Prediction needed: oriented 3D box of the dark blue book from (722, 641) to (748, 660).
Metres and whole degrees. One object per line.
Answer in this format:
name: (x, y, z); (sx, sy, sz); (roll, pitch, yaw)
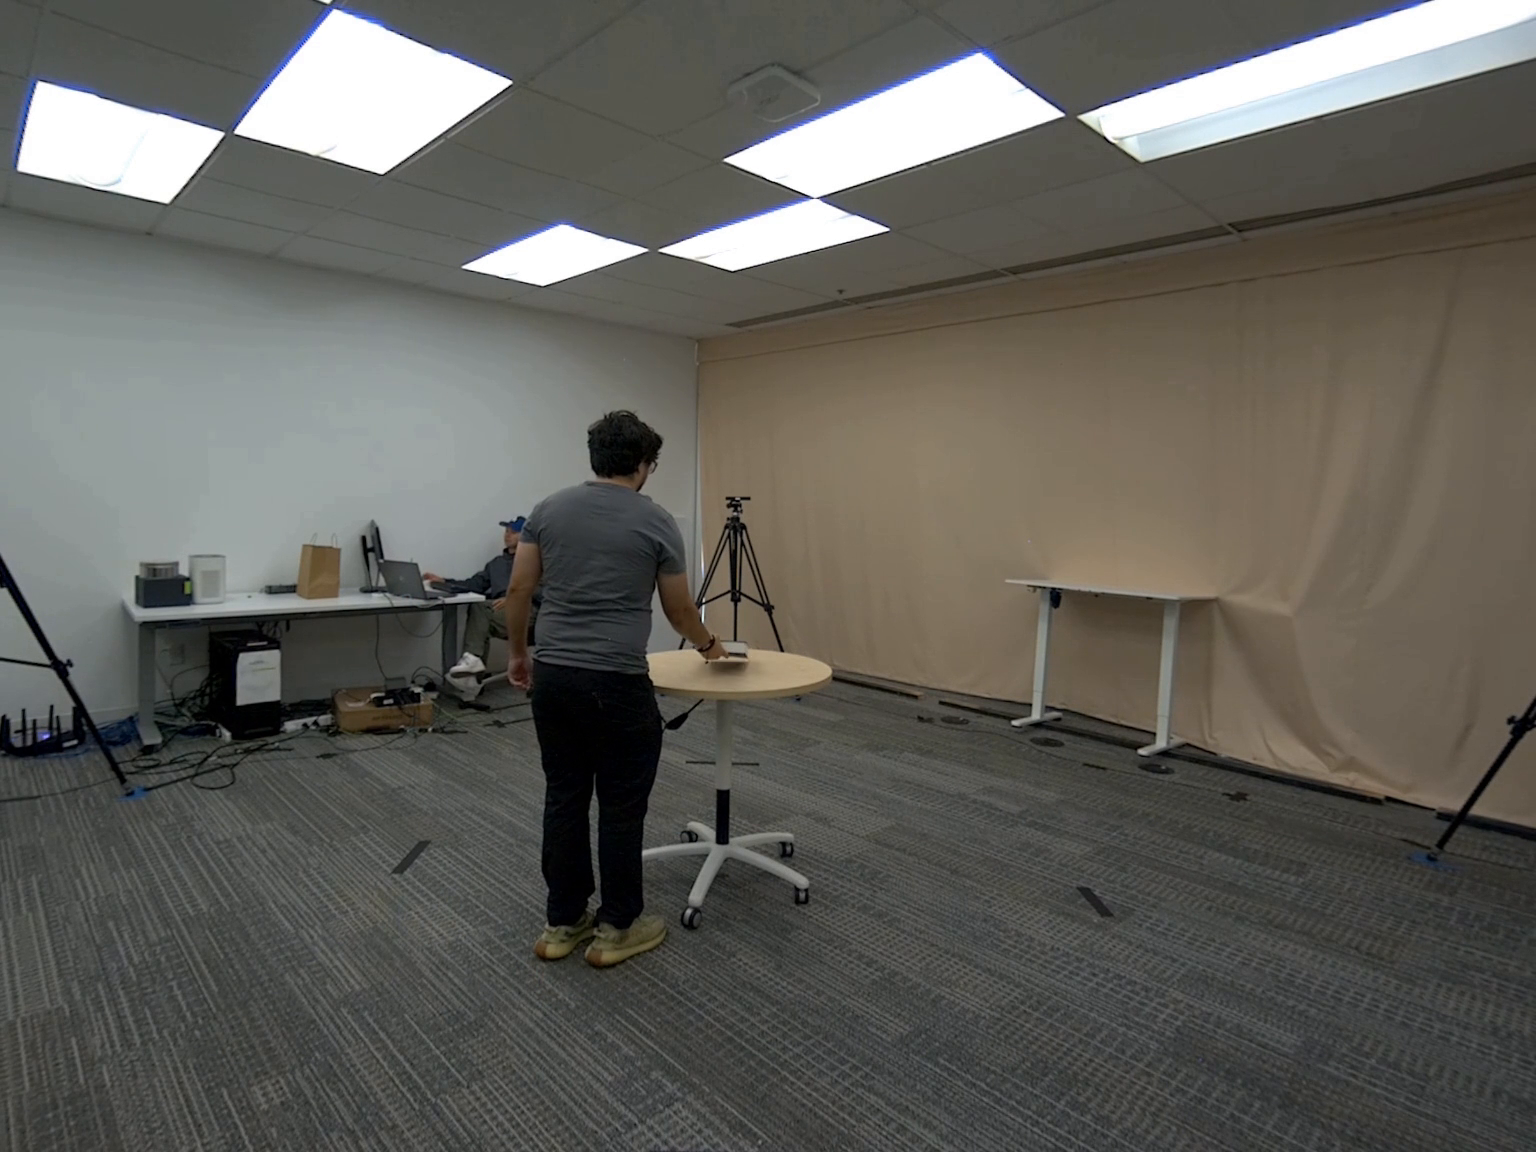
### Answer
dark blue book: (-0.159, 0.263, 3.029); (0.164, 0.045, 0.243); (3, -7, 2)
